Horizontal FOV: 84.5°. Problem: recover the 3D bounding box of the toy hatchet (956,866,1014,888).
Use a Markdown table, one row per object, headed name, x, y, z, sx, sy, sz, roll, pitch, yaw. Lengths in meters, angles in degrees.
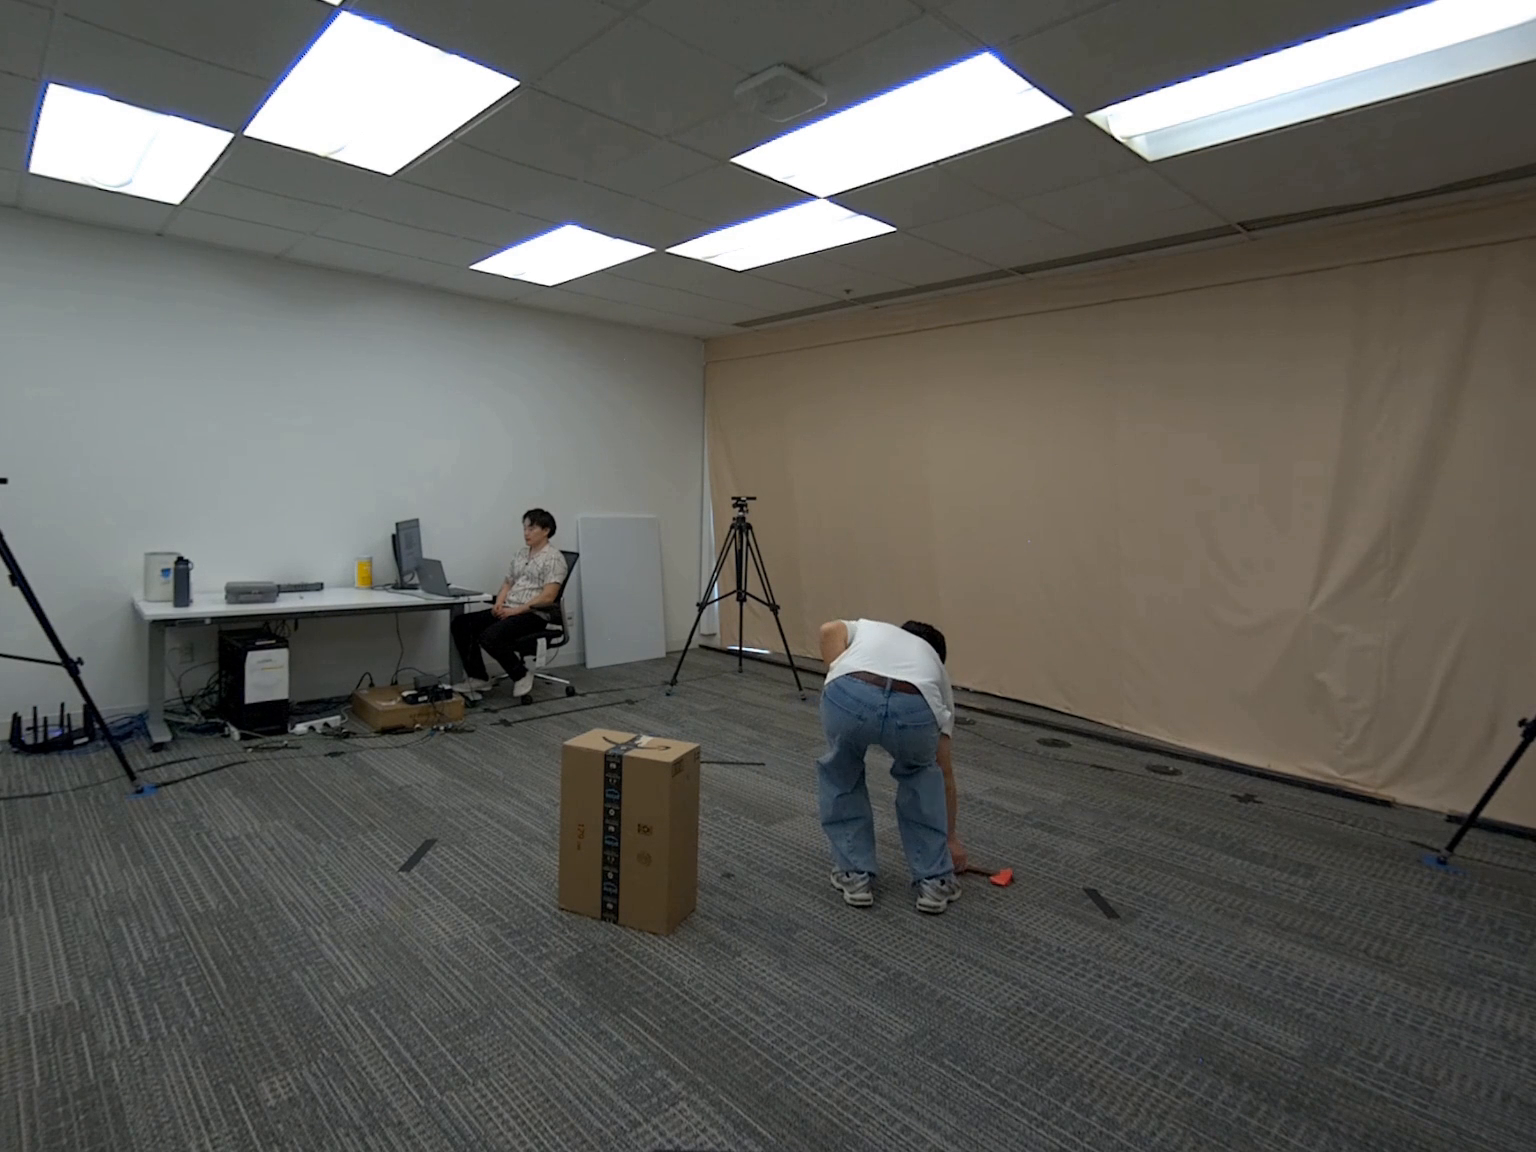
| name | x | y | z | sx | sy | sz | roll | pitch | yaw |
| --- | --- | --- | --- | --- | --- | --- | --- | --- | --- |
| toy hatchet | 0.775 | 1.111 | 3.145 | 0.272 | 0.029 | 0.130 | 0 | 5 | 9 |
